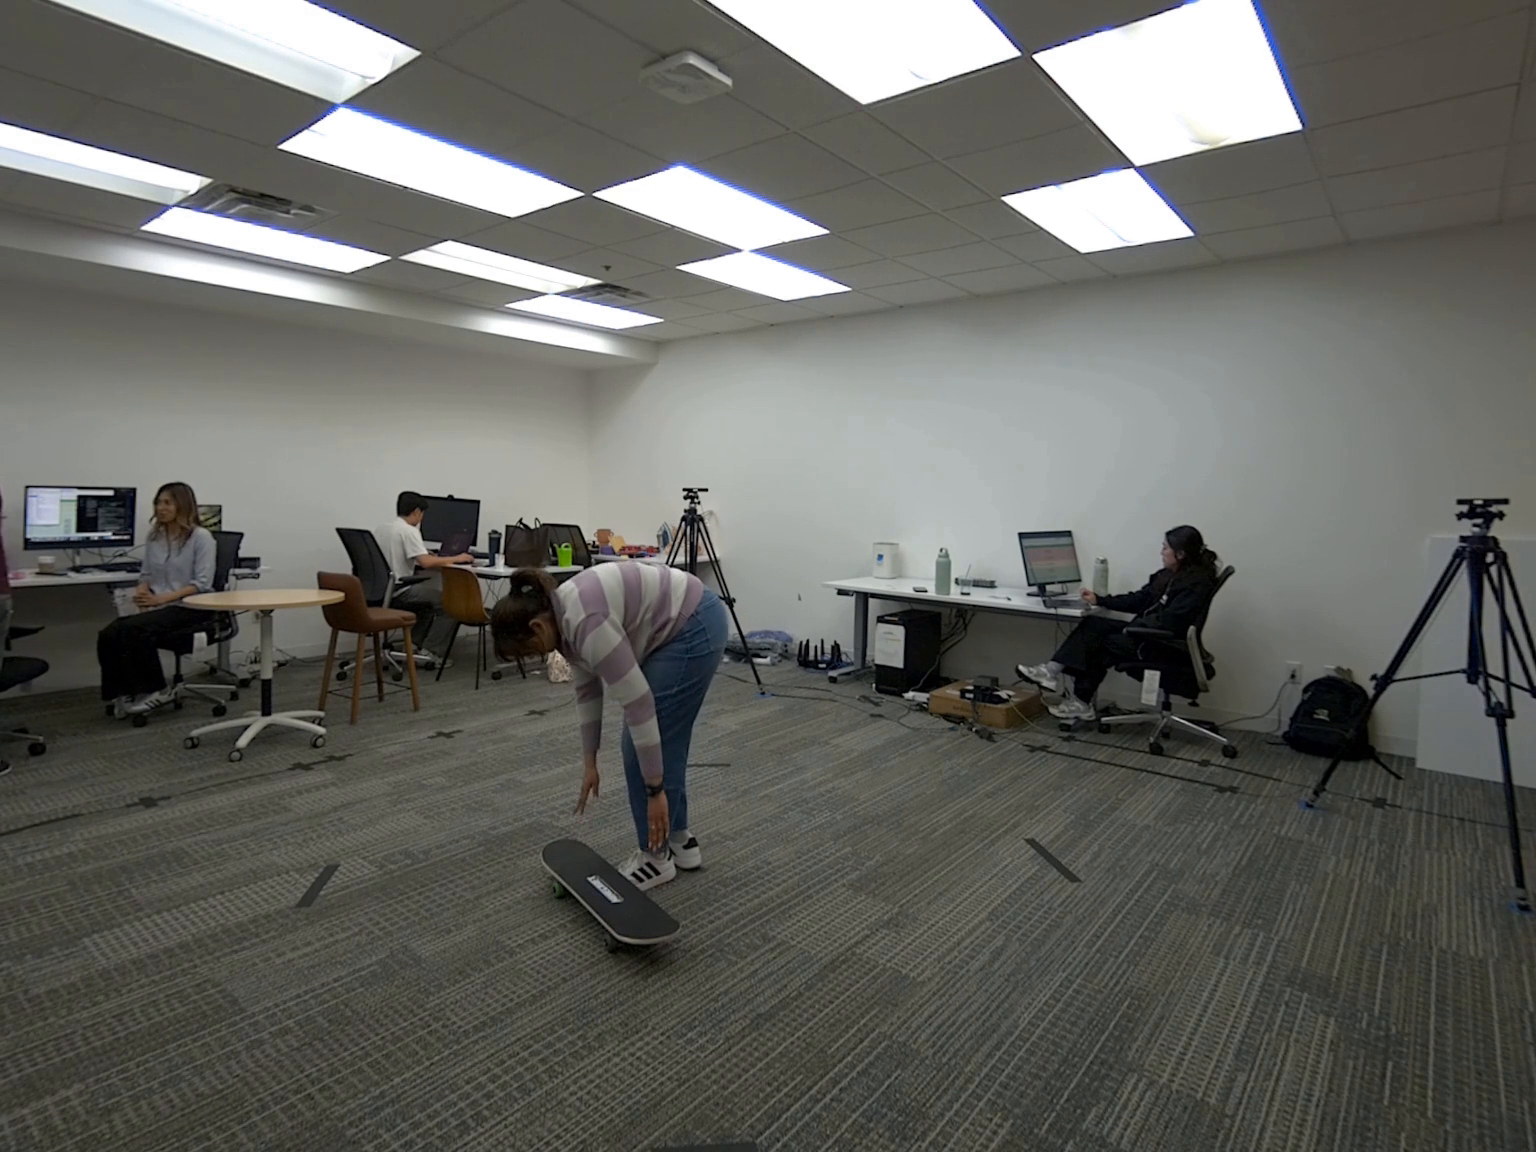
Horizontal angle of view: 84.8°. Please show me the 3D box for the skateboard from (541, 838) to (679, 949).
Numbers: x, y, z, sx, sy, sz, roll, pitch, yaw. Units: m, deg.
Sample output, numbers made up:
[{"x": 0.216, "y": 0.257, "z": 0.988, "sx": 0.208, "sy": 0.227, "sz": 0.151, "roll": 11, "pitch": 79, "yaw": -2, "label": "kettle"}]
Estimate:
[{"x": -0.539, "y": 1.038, "z": 2.747, "sx": 0.188, "sy": 0.110, "sz": 0.811, "roll": -3, "pitch": 6, "yaw": -35, "label": "skateboard"}]
